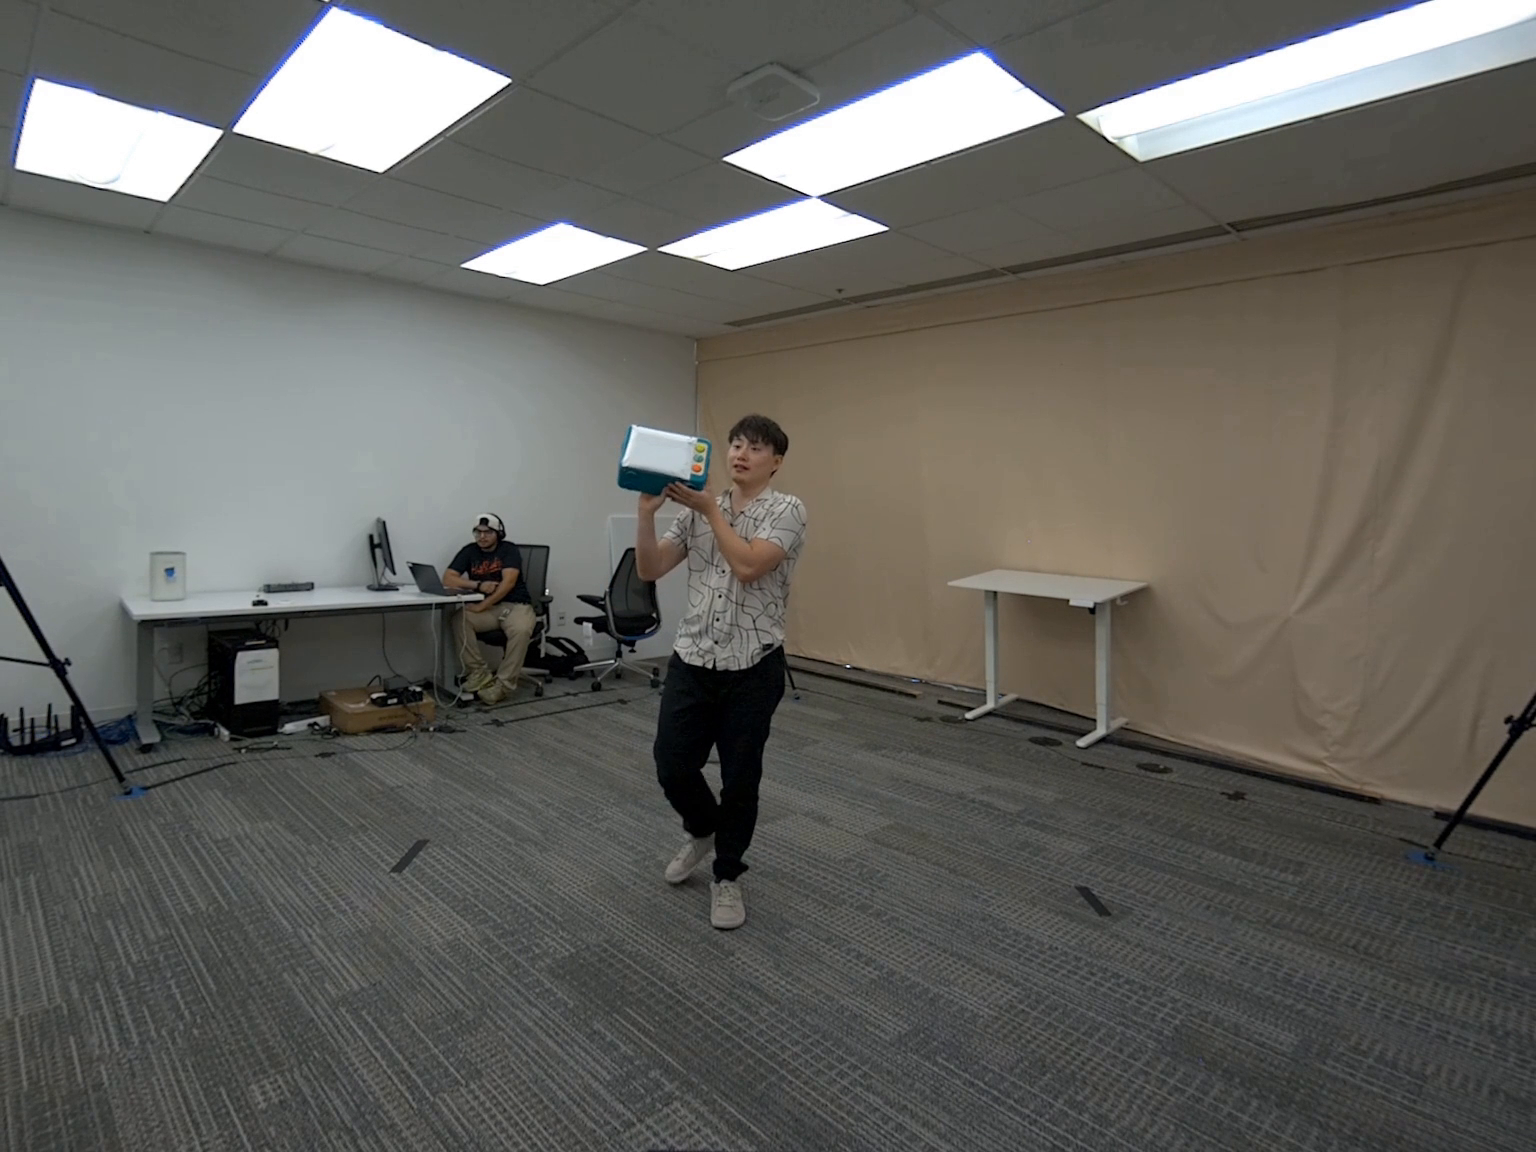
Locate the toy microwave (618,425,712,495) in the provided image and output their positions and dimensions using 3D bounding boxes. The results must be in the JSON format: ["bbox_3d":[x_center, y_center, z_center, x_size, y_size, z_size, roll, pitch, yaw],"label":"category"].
[{"bbox_3d":[-0.344,-0.366,2.722,0.285,0.187,0.150,11,-29,-5],"label":"toy microwave"}]
